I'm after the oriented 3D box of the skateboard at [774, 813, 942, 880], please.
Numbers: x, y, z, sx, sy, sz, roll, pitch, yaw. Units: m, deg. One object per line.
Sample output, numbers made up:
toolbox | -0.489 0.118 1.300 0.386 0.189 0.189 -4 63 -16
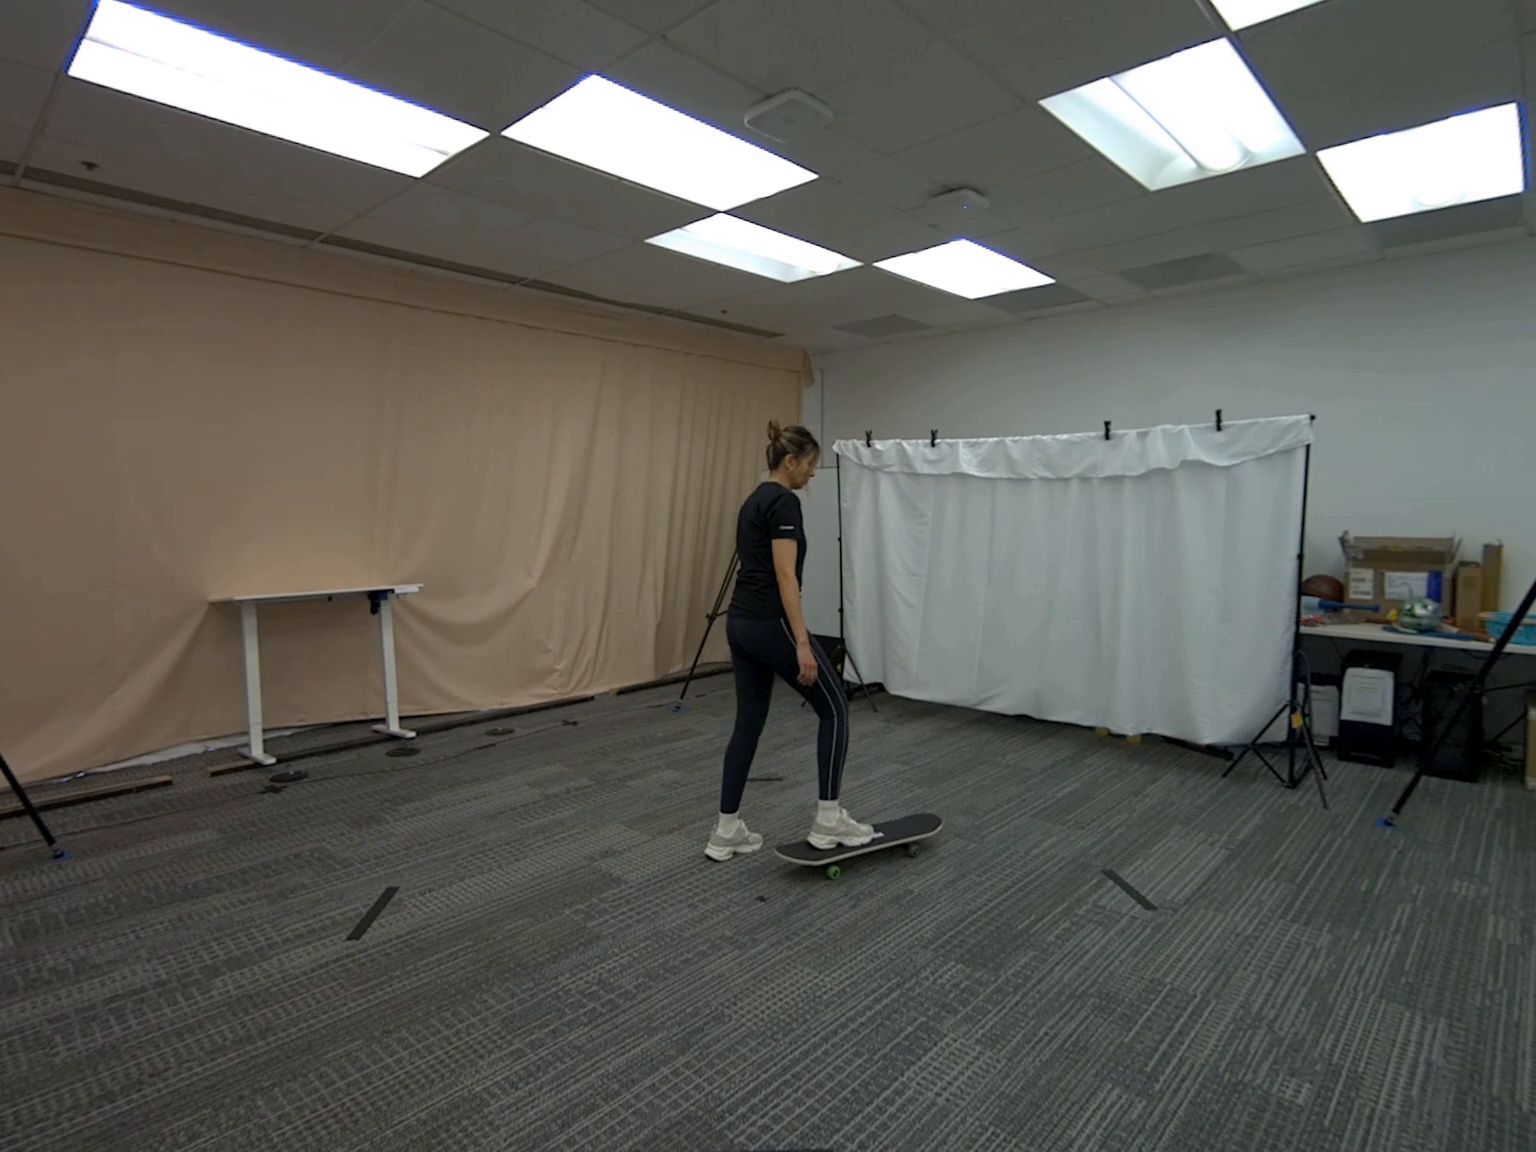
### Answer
skateboard | 0.370 1.064 3.296 0.764 0.110 0.199 -2 4 -30
